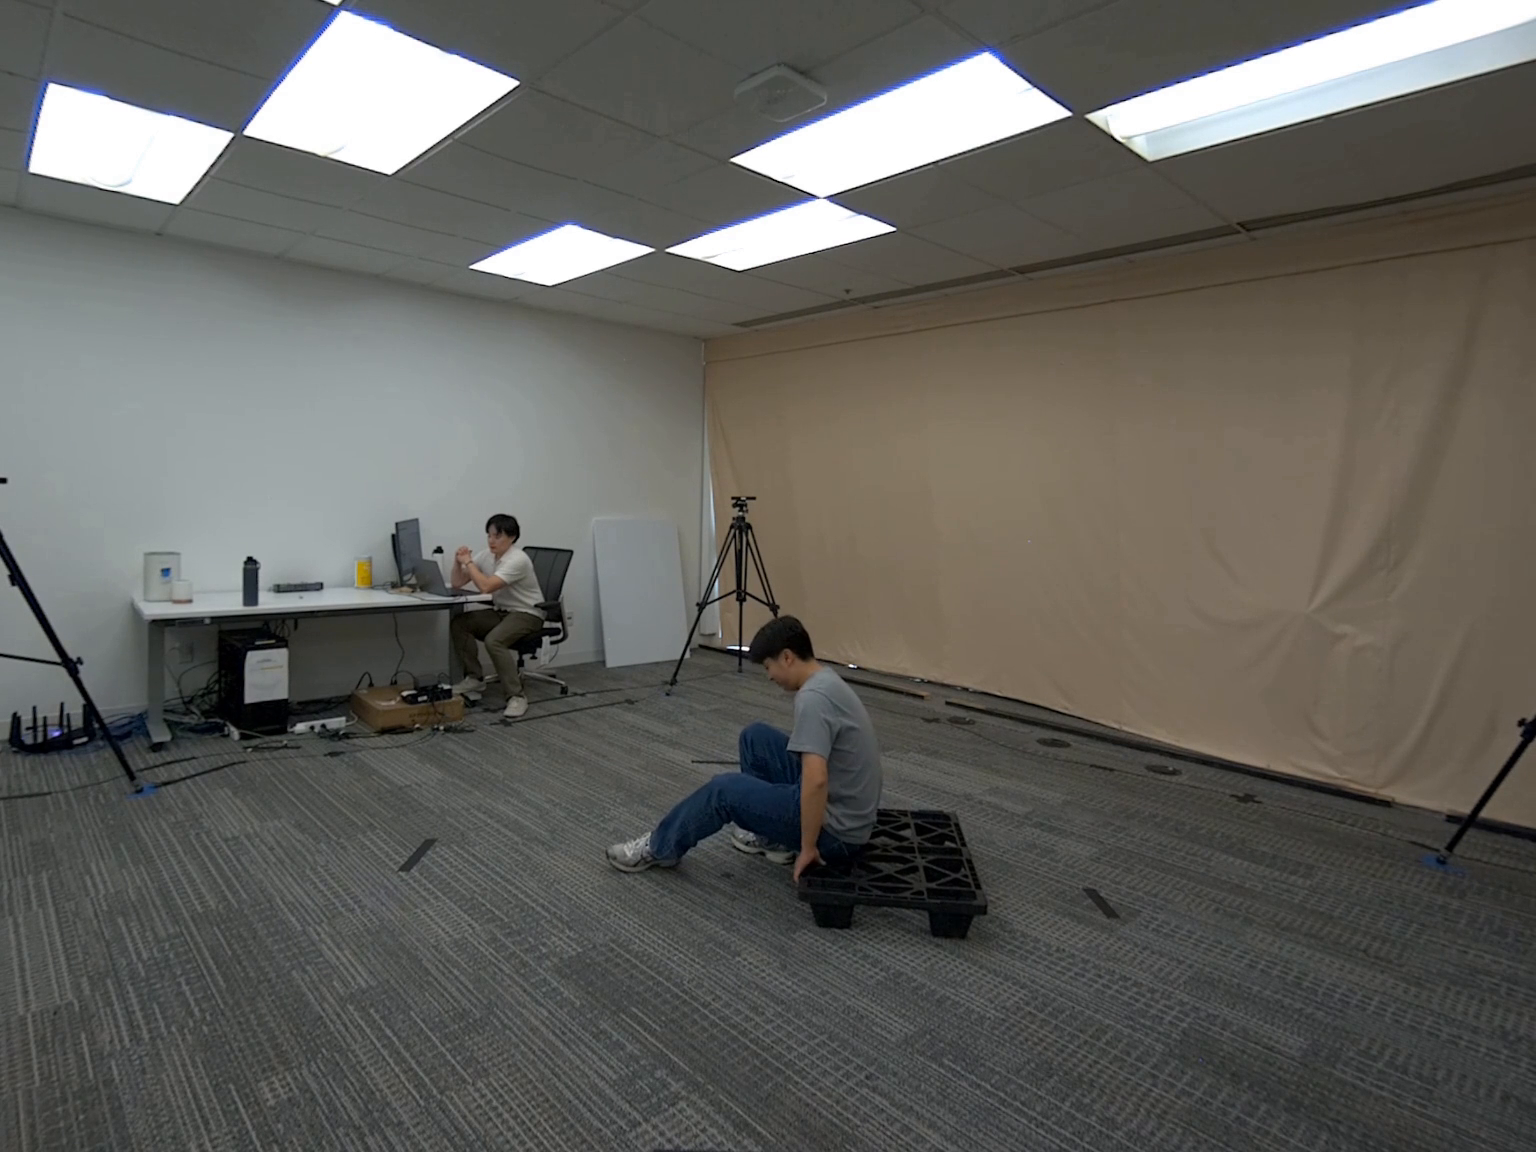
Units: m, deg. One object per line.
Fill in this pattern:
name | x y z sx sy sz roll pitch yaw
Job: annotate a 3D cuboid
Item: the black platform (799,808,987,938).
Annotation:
black platform | 0.419 1.053 3.064 0.609 0.143 0.803 1 5 6
